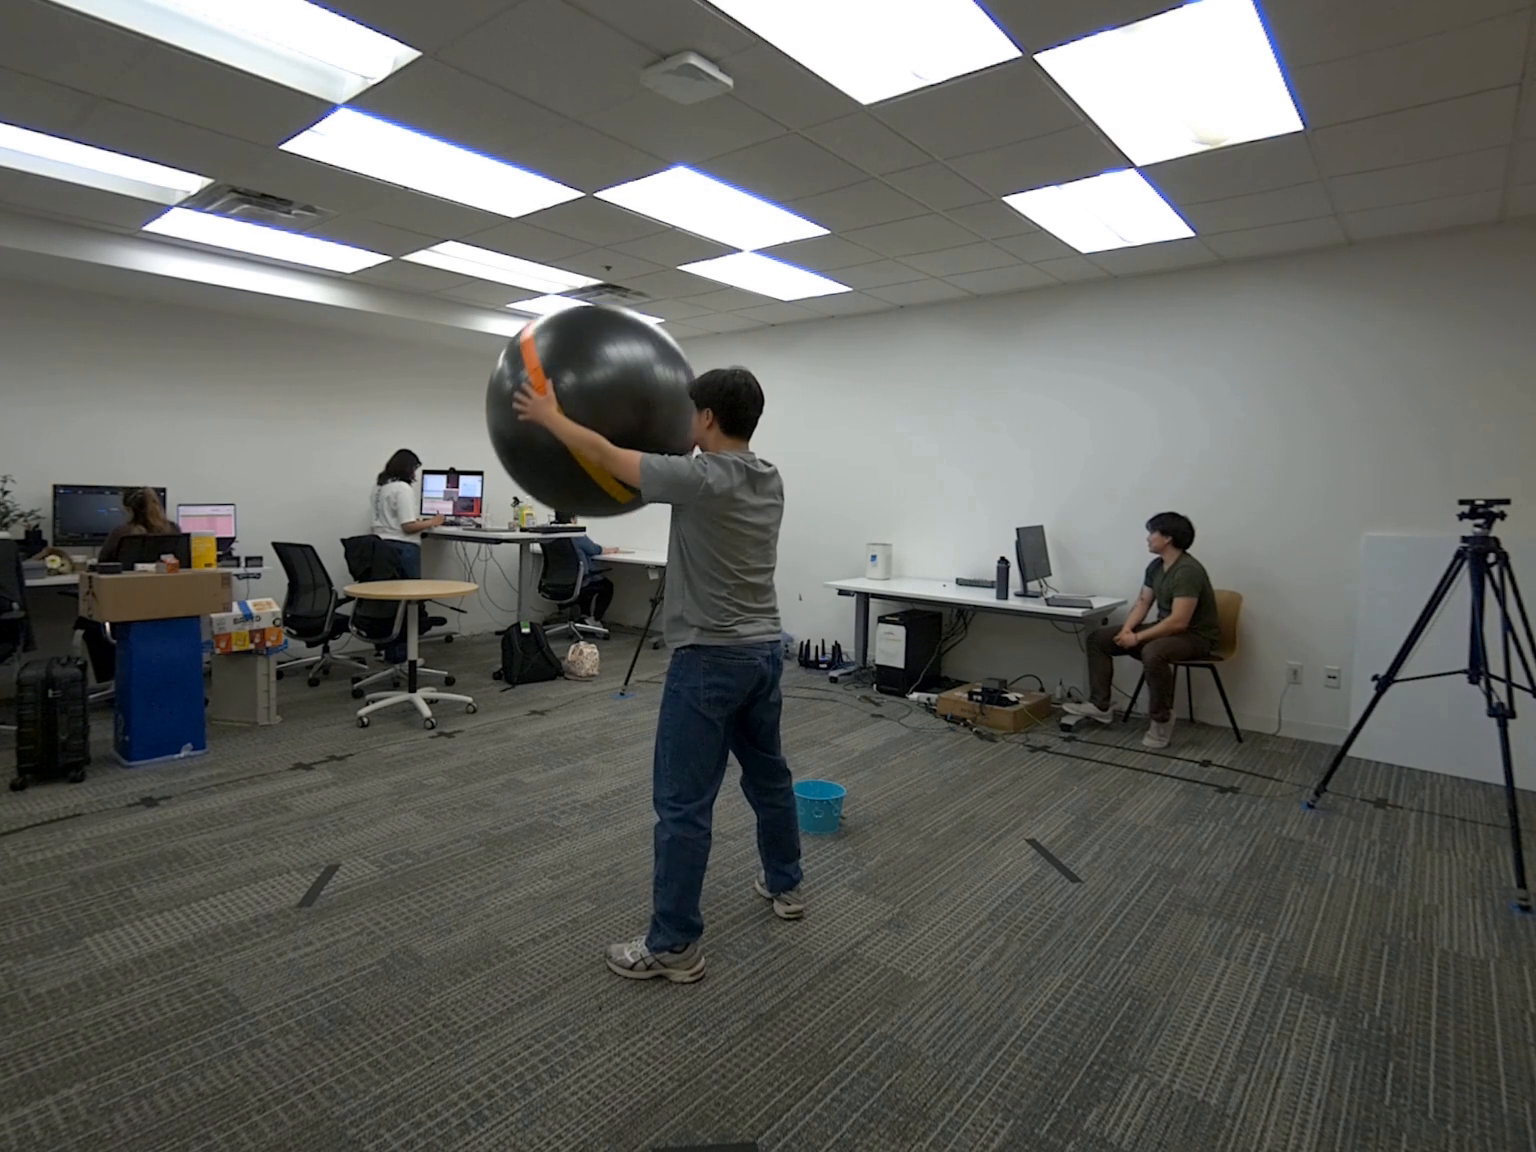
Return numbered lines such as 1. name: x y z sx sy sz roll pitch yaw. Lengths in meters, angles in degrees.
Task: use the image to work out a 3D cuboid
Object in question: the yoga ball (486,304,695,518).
1. yoga ball: -0.626 -0.555 3.029 0.757 0.755 0.762 1 4 -2
